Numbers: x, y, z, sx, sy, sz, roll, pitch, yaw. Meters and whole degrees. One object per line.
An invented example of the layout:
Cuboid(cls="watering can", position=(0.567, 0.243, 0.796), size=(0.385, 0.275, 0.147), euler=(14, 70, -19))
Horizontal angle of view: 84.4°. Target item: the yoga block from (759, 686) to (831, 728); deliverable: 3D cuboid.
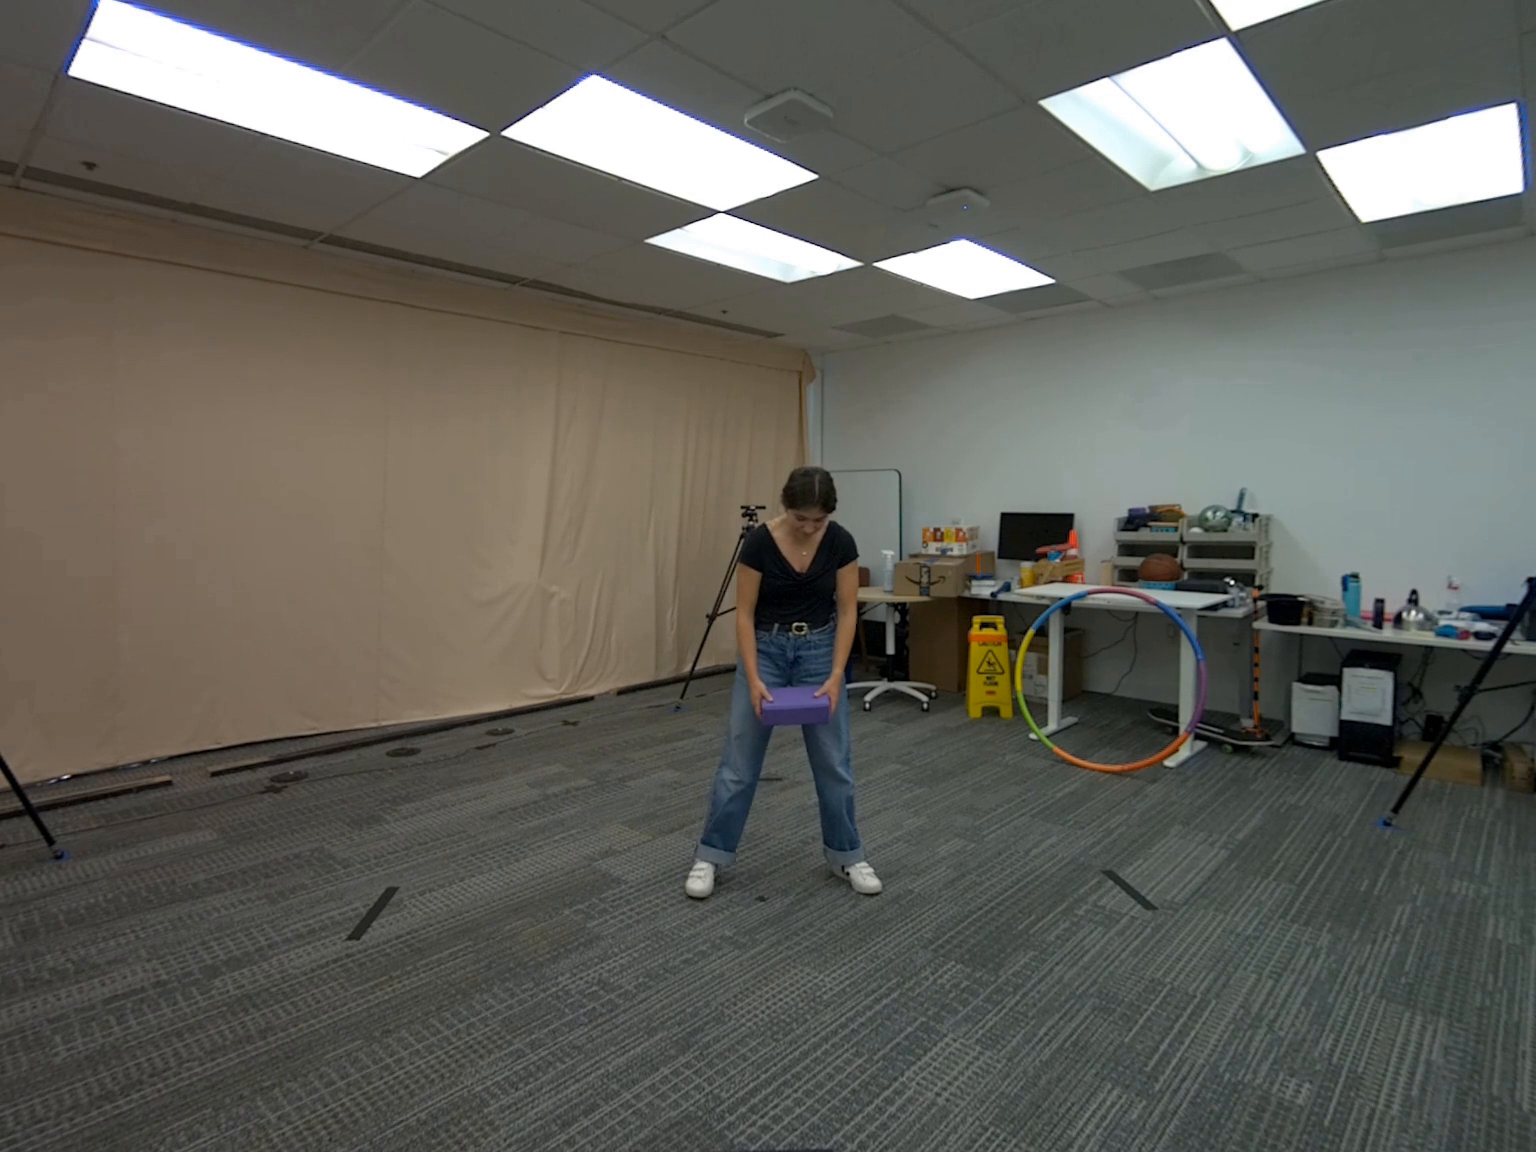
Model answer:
Cuboid(cls="yoga block", position=(0.085, 0.450, 2.924), size=(0.230, 0.075, 0.150), euler=(-3, 19, 3))
